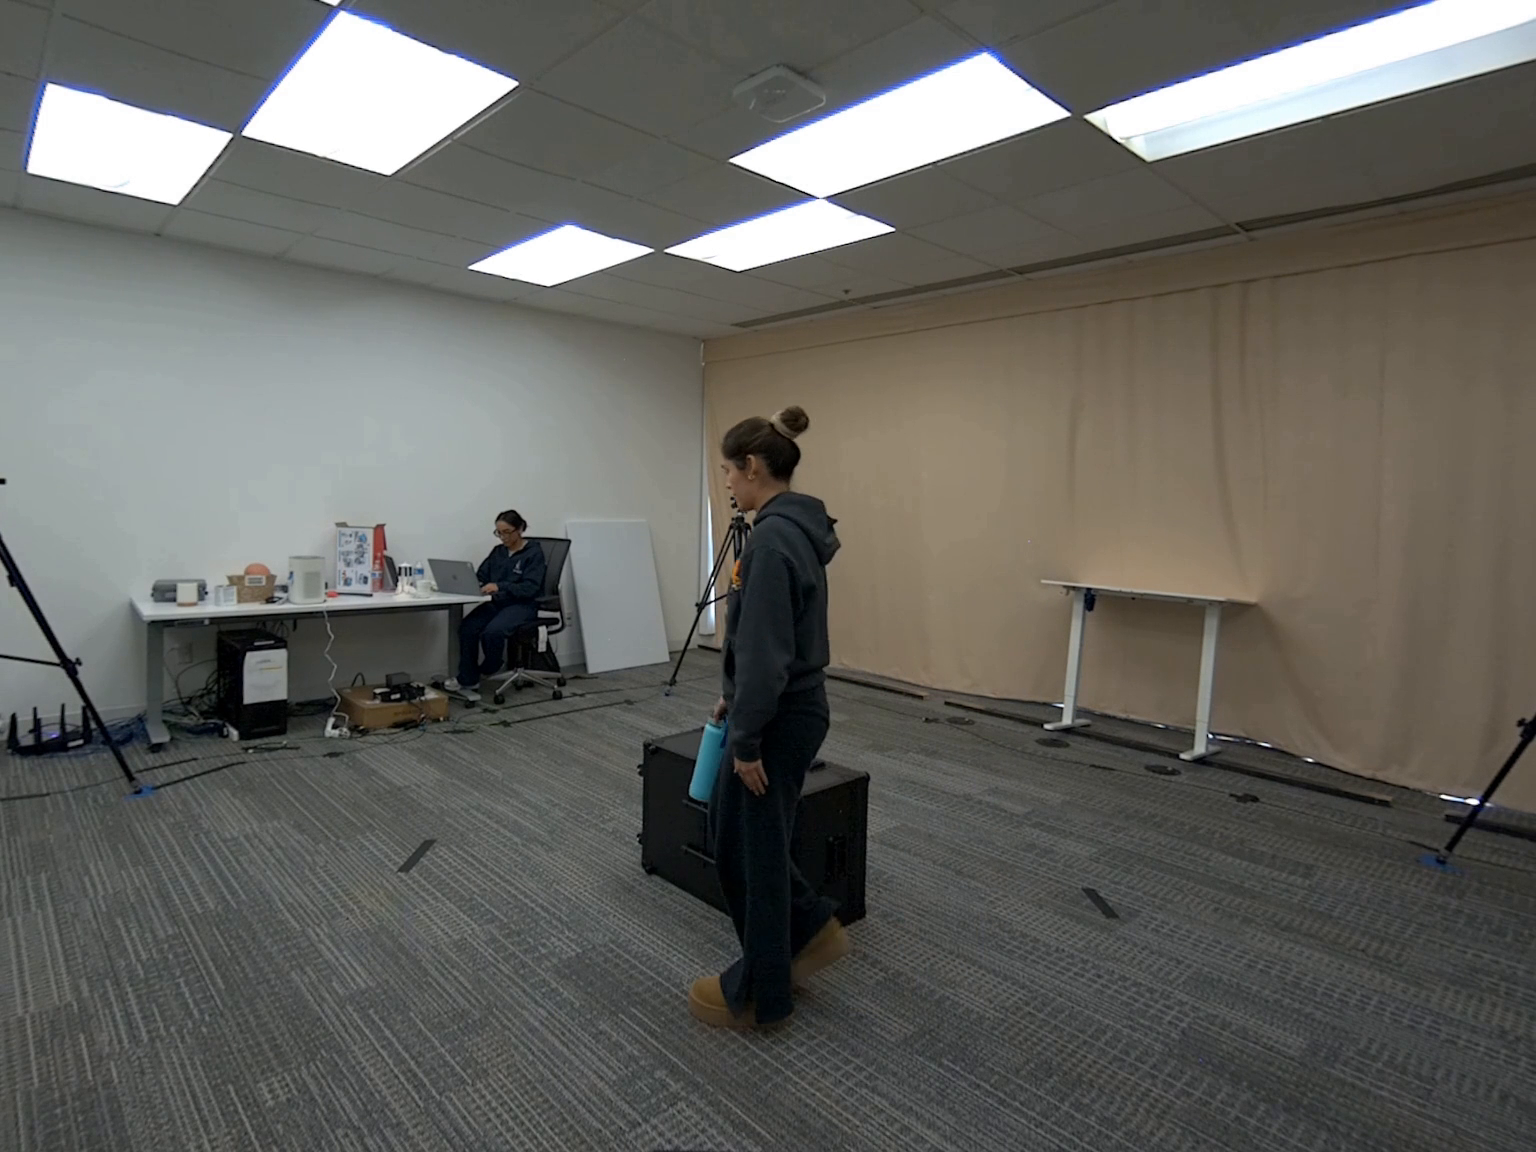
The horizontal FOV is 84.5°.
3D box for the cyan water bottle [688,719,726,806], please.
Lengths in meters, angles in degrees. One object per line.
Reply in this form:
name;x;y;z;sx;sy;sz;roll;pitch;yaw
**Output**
cyan water bottle;-0.159;0.555;2.573;0.092;0.283;0.092;10;3;-2
